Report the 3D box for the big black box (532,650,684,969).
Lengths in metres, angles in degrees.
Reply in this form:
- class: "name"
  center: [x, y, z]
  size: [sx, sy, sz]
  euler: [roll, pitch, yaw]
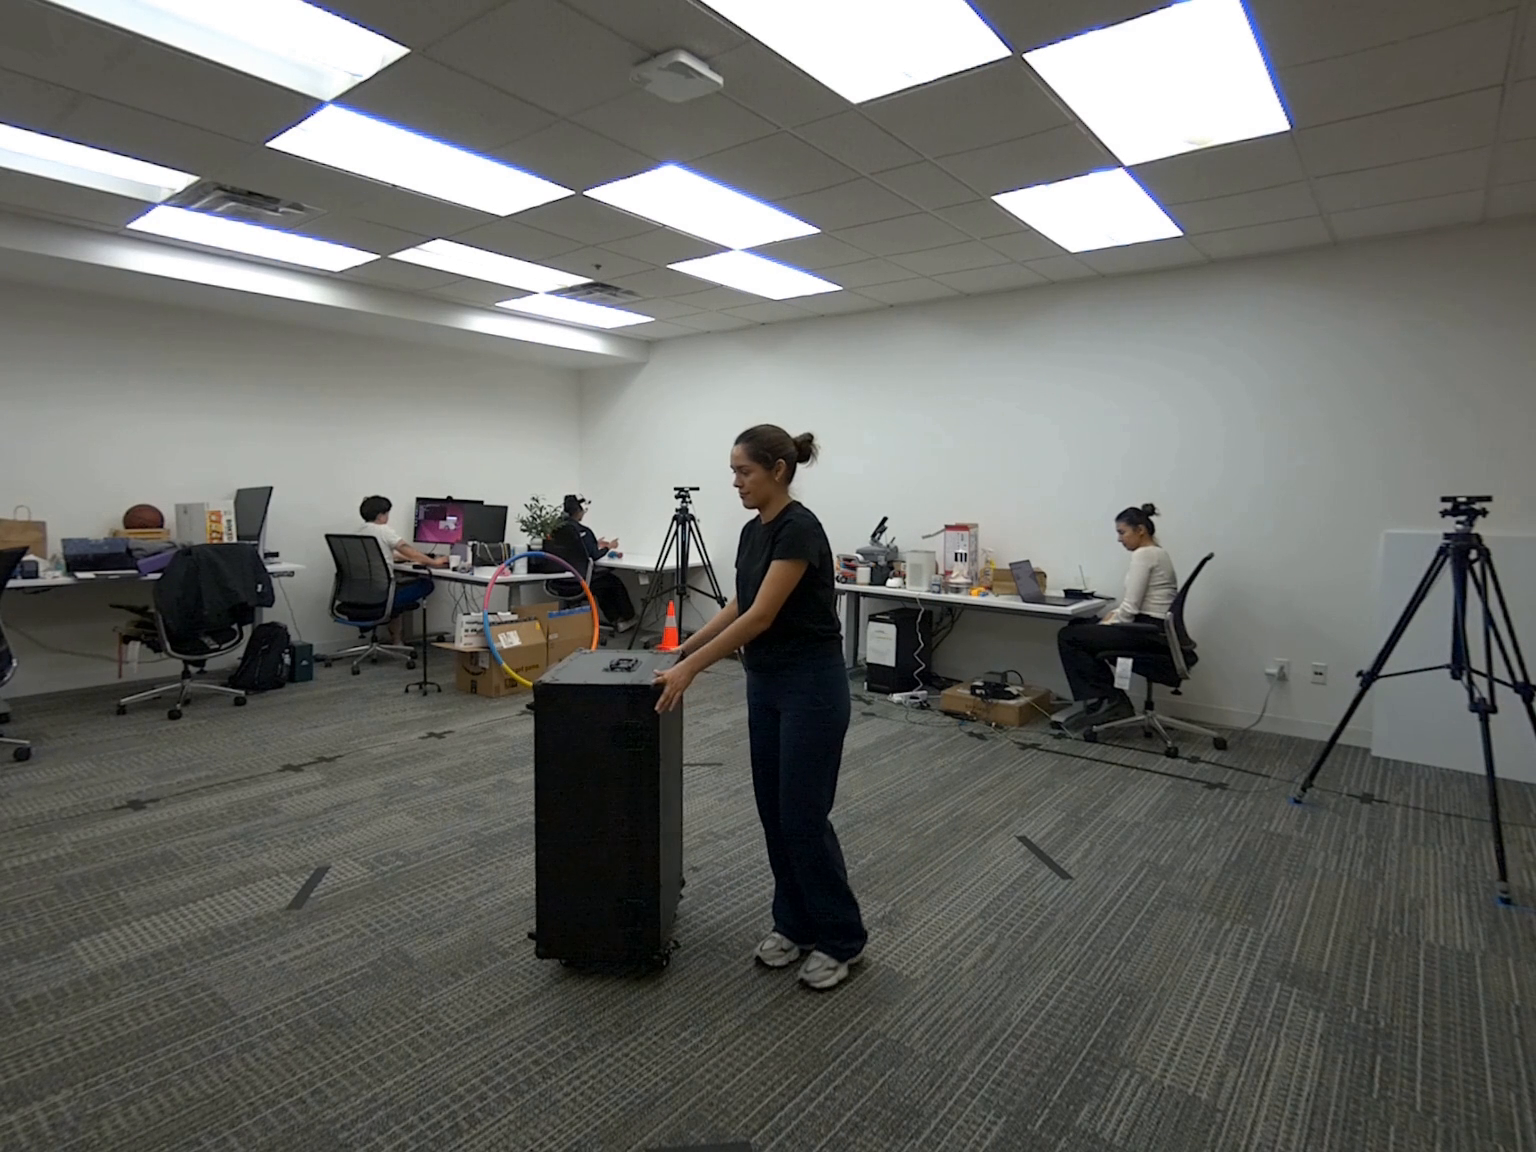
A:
- class: "big black box"
  center: [-0.467, 0.695, 2.589]
  size: [0.398, 0.859, 0.520]
  euler: [0, 4, 3]
